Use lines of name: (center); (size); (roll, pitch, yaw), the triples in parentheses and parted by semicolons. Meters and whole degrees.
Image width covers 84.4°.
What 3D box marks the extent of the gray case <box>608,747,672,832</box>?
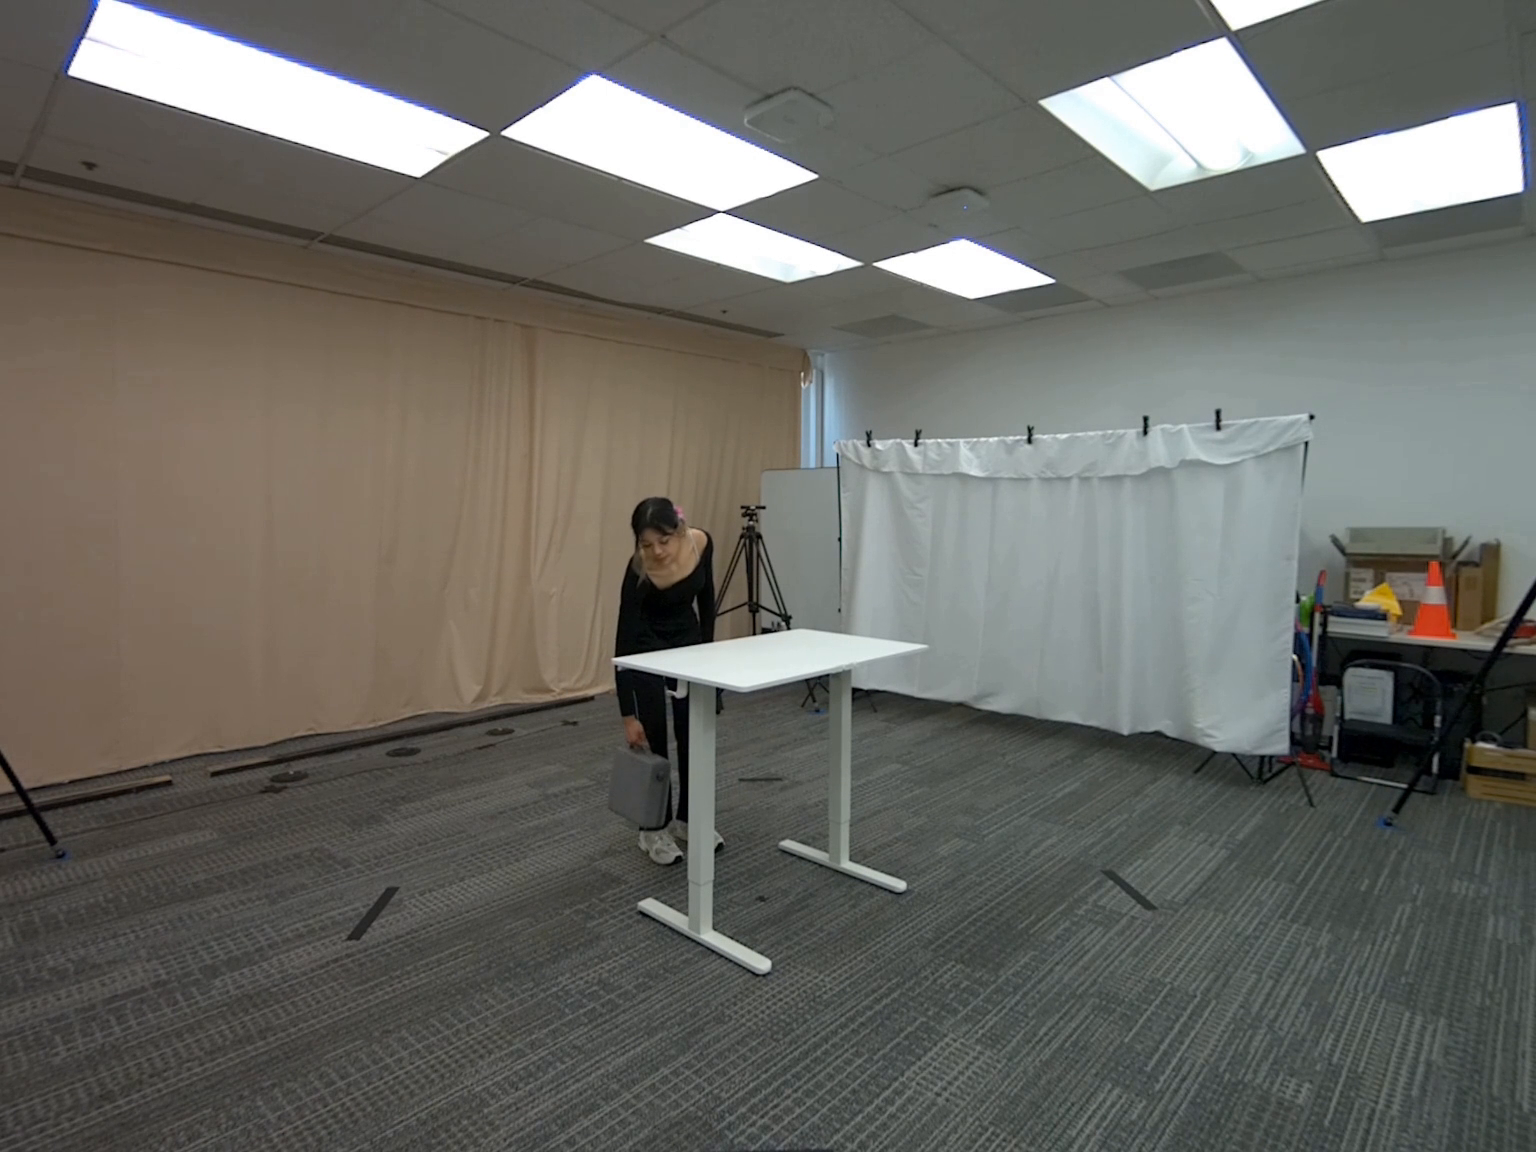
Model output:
gray case: (-0.475, 0.771, 3.152); (0.101, 0.260, 0.265); (5, 1, -41)
